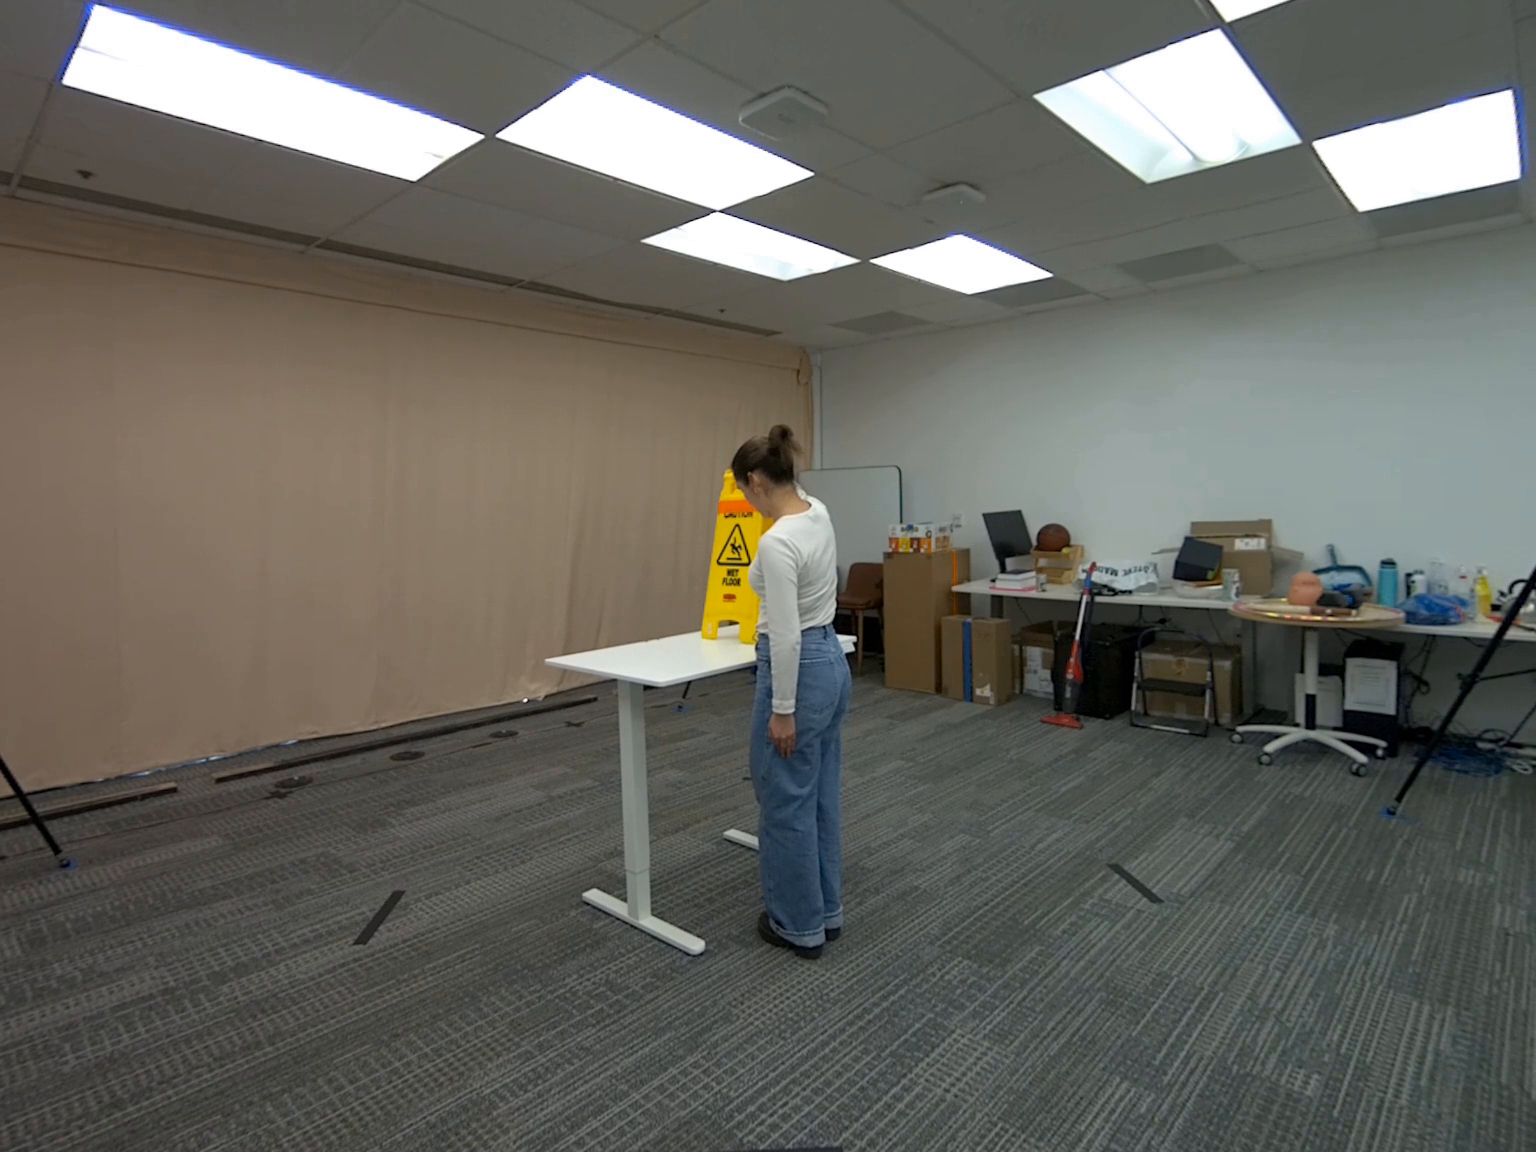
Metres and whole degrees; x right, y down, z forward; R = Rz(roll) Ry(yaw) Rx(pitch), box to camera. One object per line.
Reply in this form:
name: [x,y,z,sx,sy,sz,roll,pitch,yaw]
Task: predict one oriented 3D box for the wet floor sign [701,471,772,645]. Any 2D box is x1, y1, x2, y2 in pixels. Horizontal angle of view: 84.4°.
wet floor sign: [-0.072,-0.090,3.242,0.291,0.645,0.281,0,2,42]
